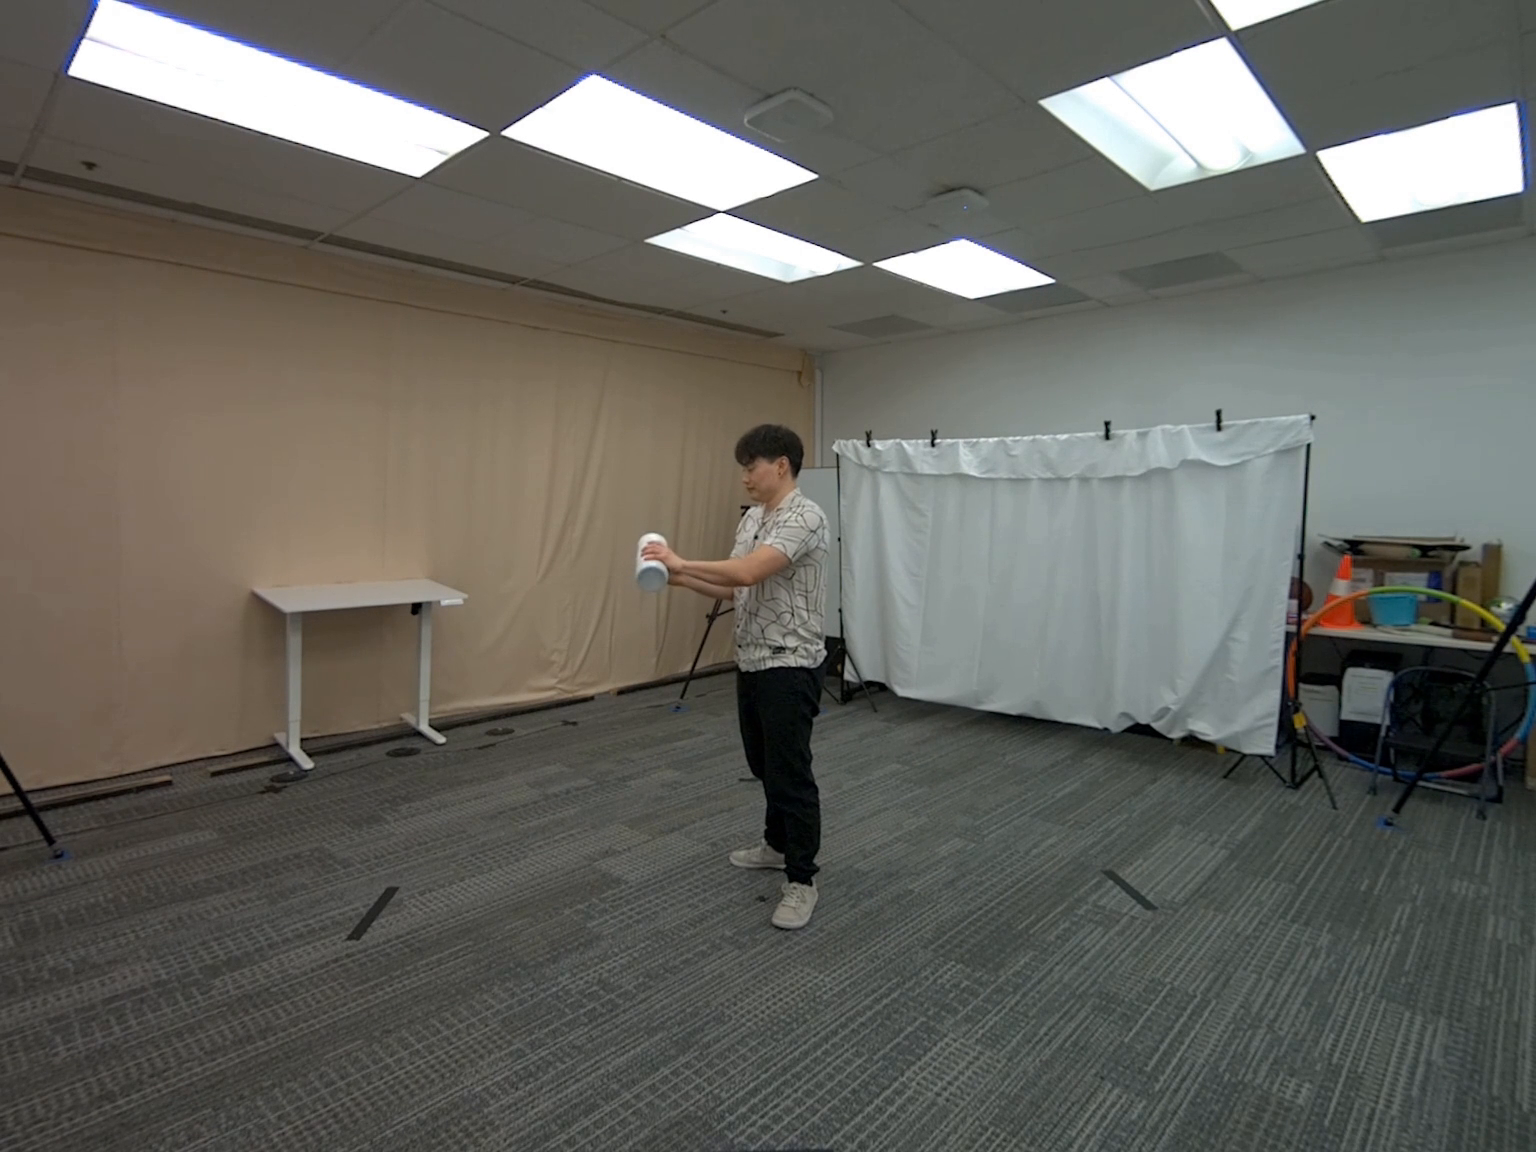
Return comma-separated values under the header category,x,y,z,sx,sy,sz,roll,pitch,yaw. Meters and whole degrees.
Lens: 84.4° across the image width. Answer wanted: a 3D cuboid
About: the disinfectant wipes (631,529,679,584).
category,x,y,z,sx,sy,sz,roll,pitch,yaw
disinfectant wipes,-0.380,-0.070,2.815,0.116,0.117,0.223,-1,18,-16
